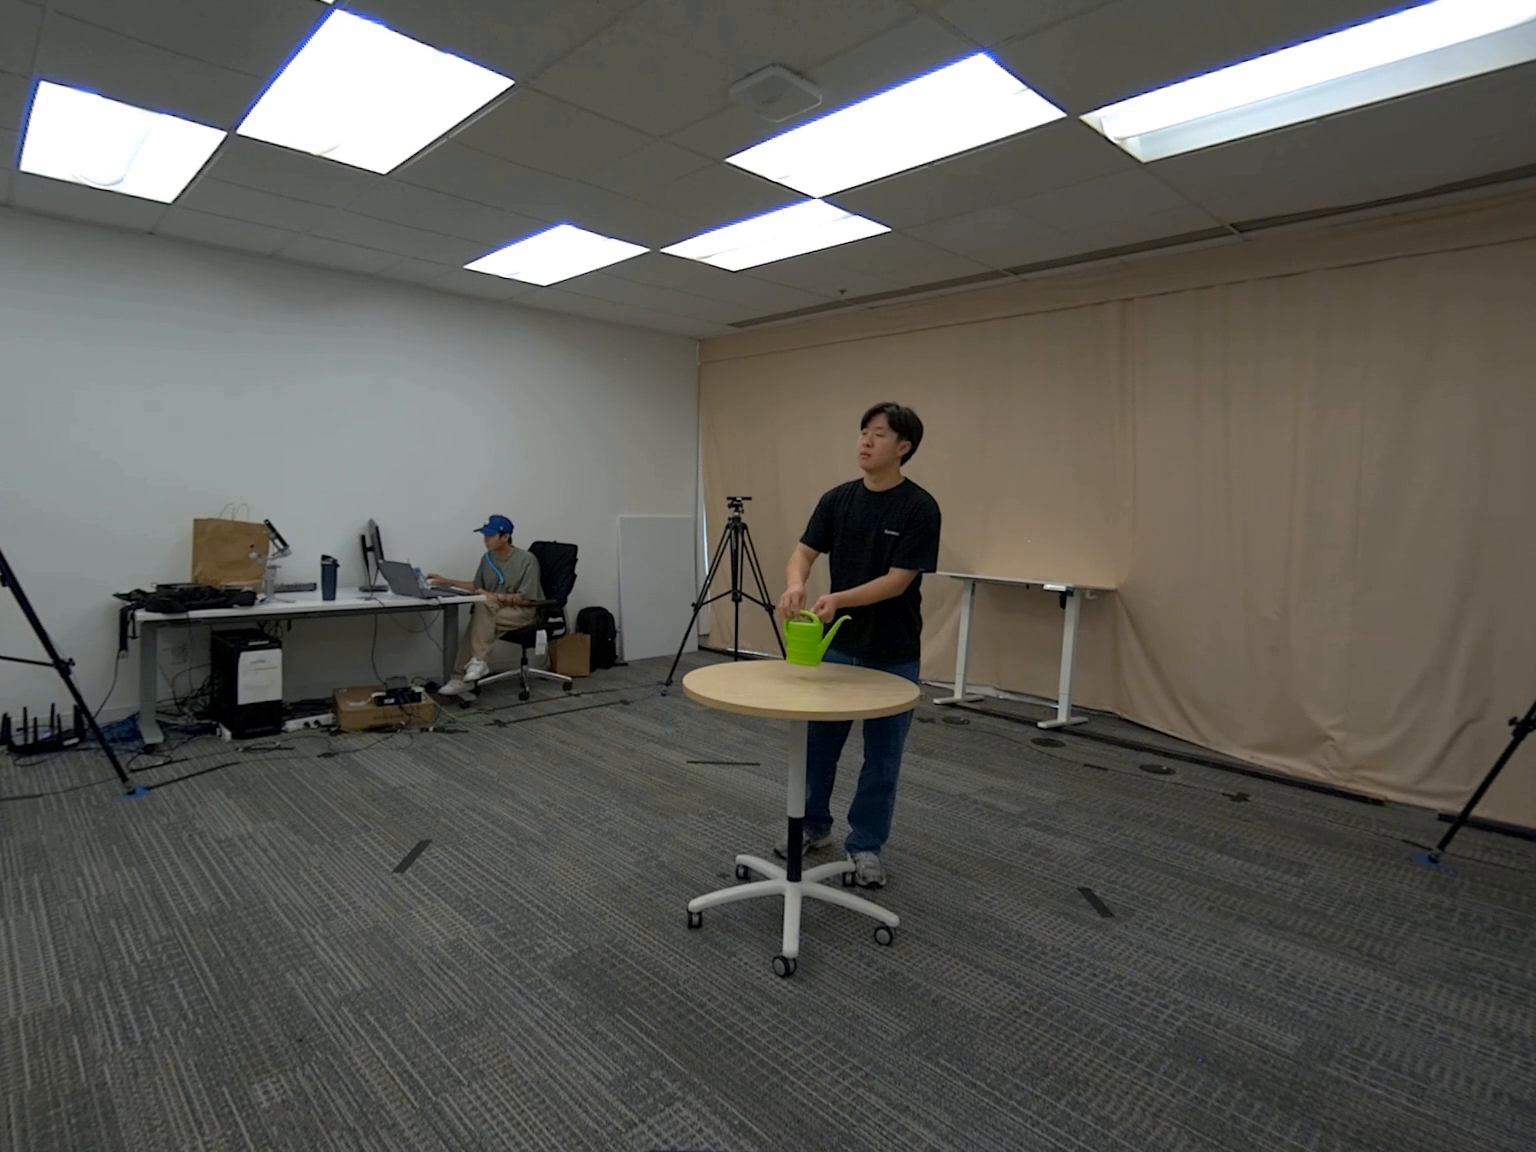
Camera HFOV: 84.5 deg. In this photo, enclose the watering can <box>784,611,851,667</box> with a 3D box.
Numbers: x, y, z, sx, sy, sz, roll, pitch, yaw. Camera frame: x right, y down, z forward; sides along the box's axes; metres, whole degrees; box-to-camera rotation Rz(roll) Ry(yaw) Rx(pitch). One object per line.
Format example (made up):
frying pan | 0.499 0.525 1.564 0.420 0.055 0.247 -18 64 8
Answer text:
watering can | 0.140 0.210 2.744 0.096 0.176 0.285 -1 4 -32
